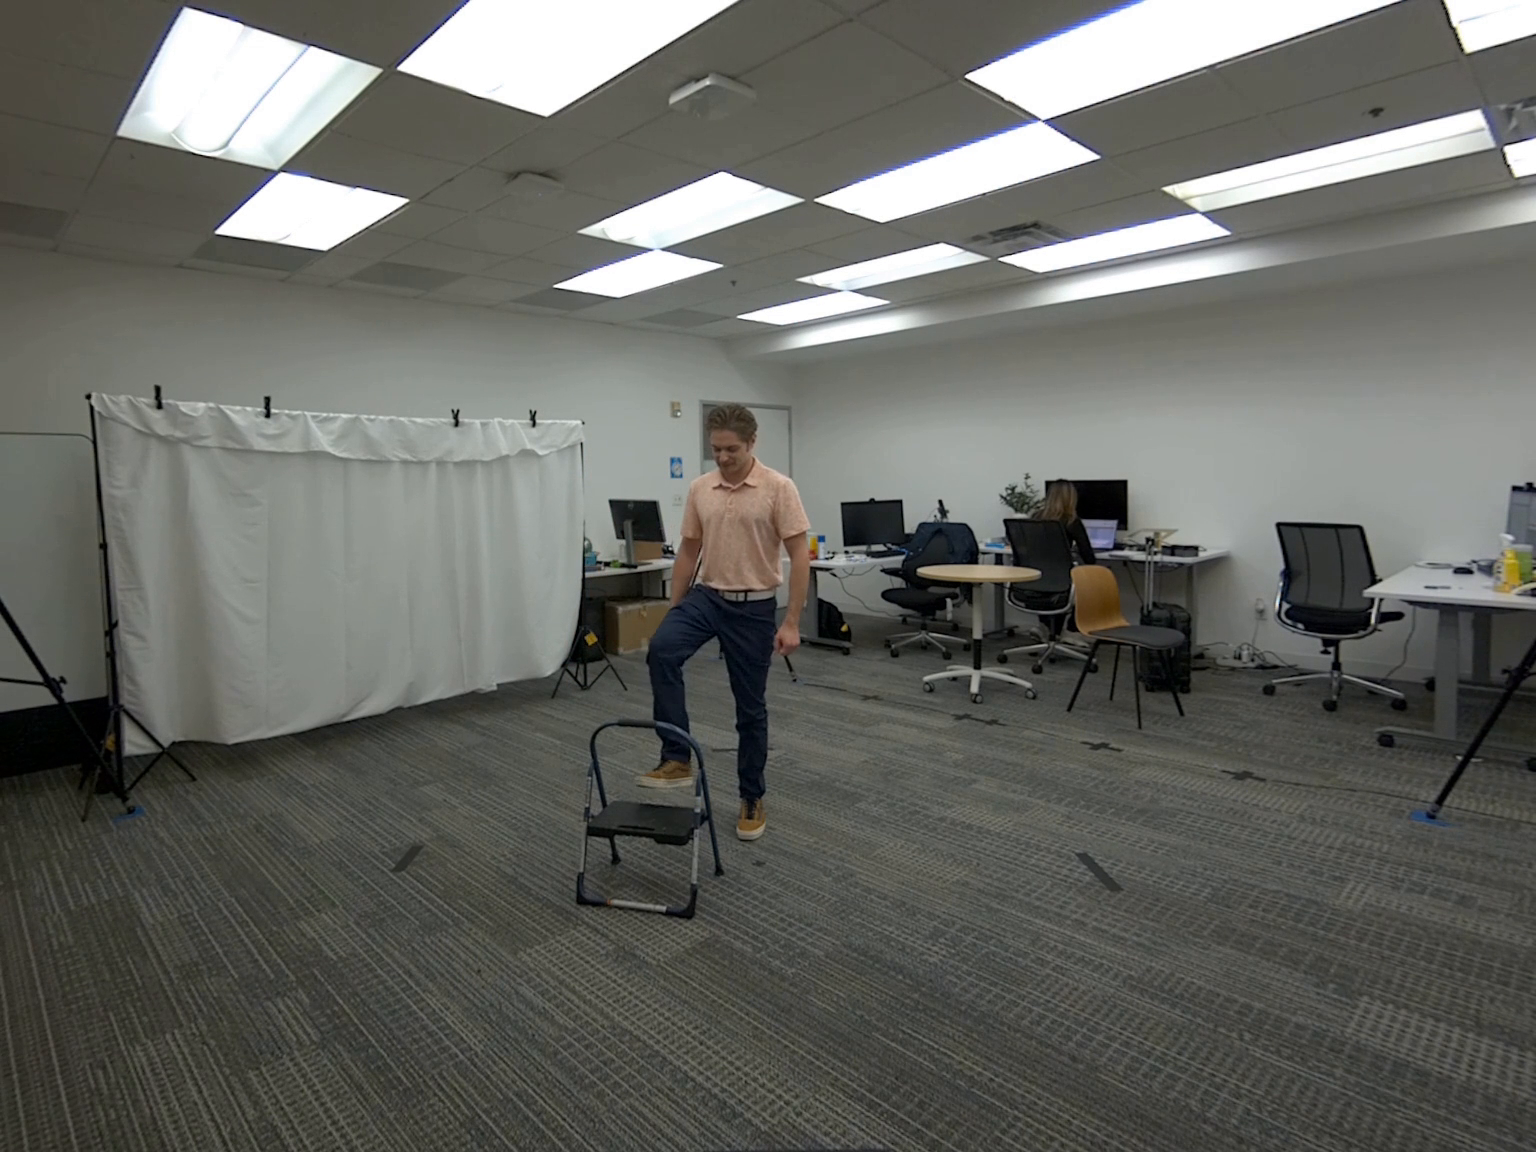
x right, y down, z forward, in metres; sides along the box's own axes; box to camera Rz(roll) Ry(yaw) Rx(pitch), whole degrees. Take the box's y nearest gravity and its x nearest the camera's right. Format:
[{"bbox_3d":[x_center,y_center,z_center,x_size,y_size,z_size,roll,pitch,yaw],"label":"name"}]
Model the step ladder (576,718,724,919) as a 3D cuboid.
[{"bbox_3d":[-0.407,0.774,2.919,0.437,0.604,0.345,0,5,15],"label":"step ladder"}]
